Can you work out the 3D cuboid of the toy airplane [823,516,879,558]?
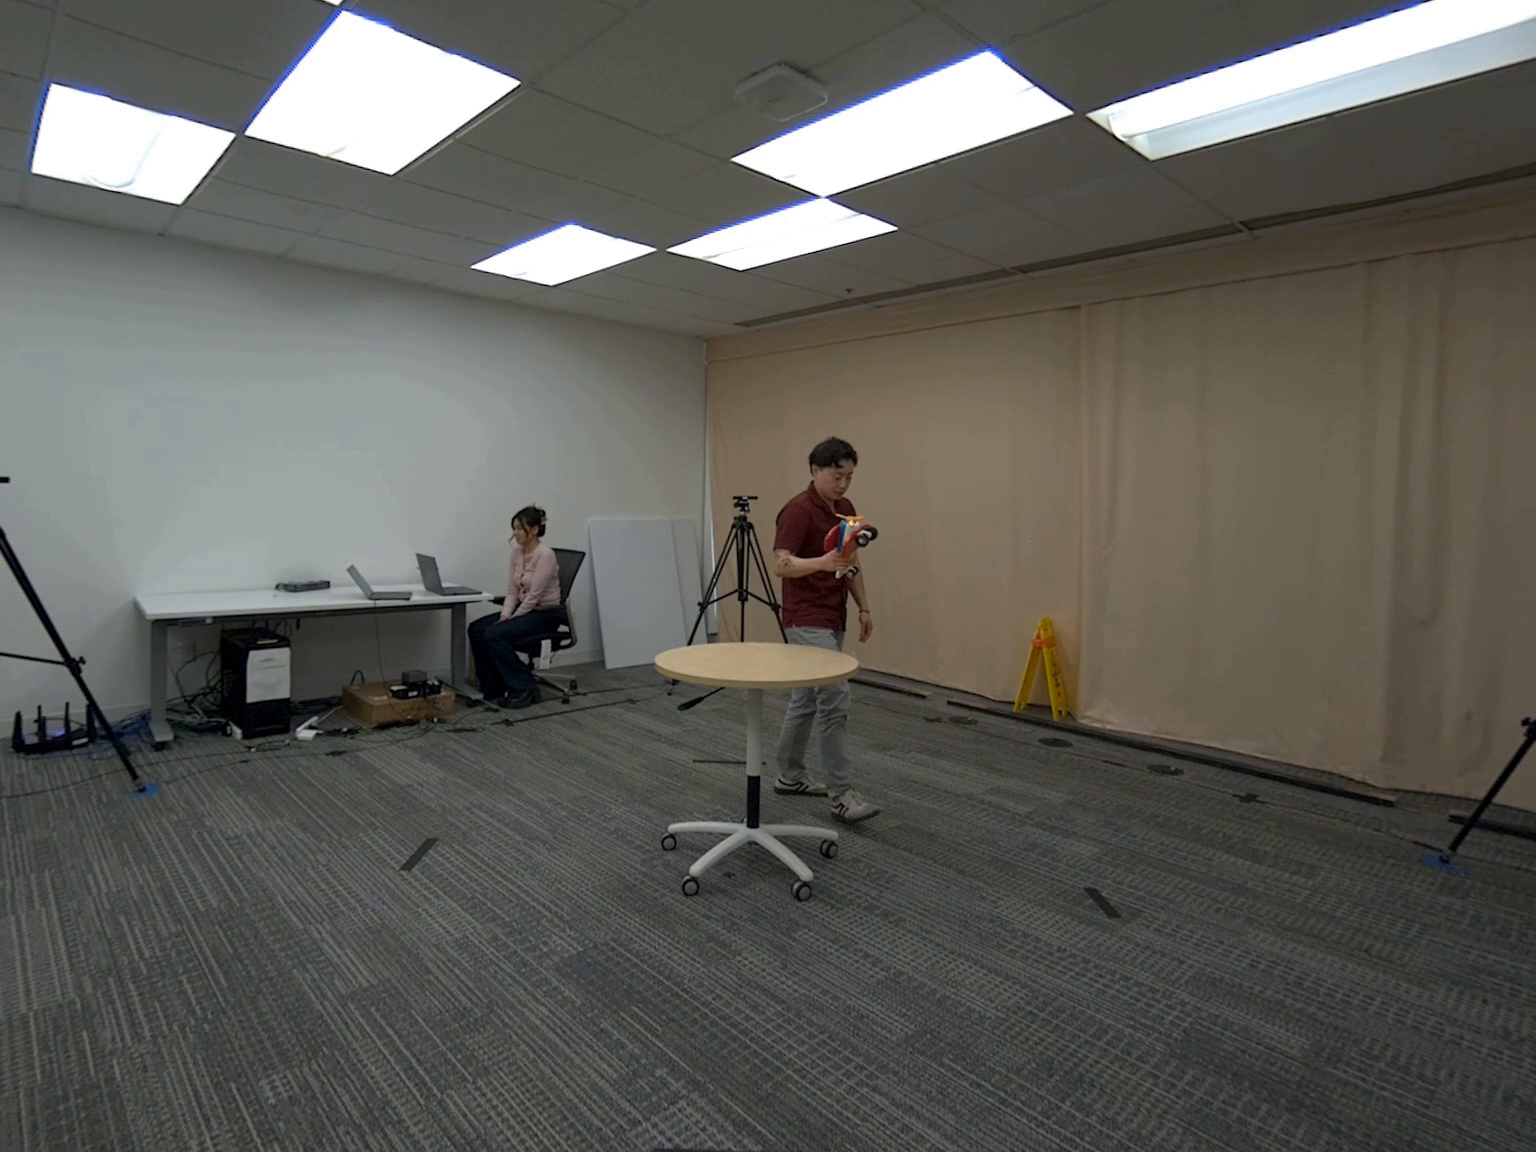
[{"bbox_3d":[0.316,-0.116,3.424,0.159,0.259,0.247,33,7,17],"label":"toy airplane"}]
